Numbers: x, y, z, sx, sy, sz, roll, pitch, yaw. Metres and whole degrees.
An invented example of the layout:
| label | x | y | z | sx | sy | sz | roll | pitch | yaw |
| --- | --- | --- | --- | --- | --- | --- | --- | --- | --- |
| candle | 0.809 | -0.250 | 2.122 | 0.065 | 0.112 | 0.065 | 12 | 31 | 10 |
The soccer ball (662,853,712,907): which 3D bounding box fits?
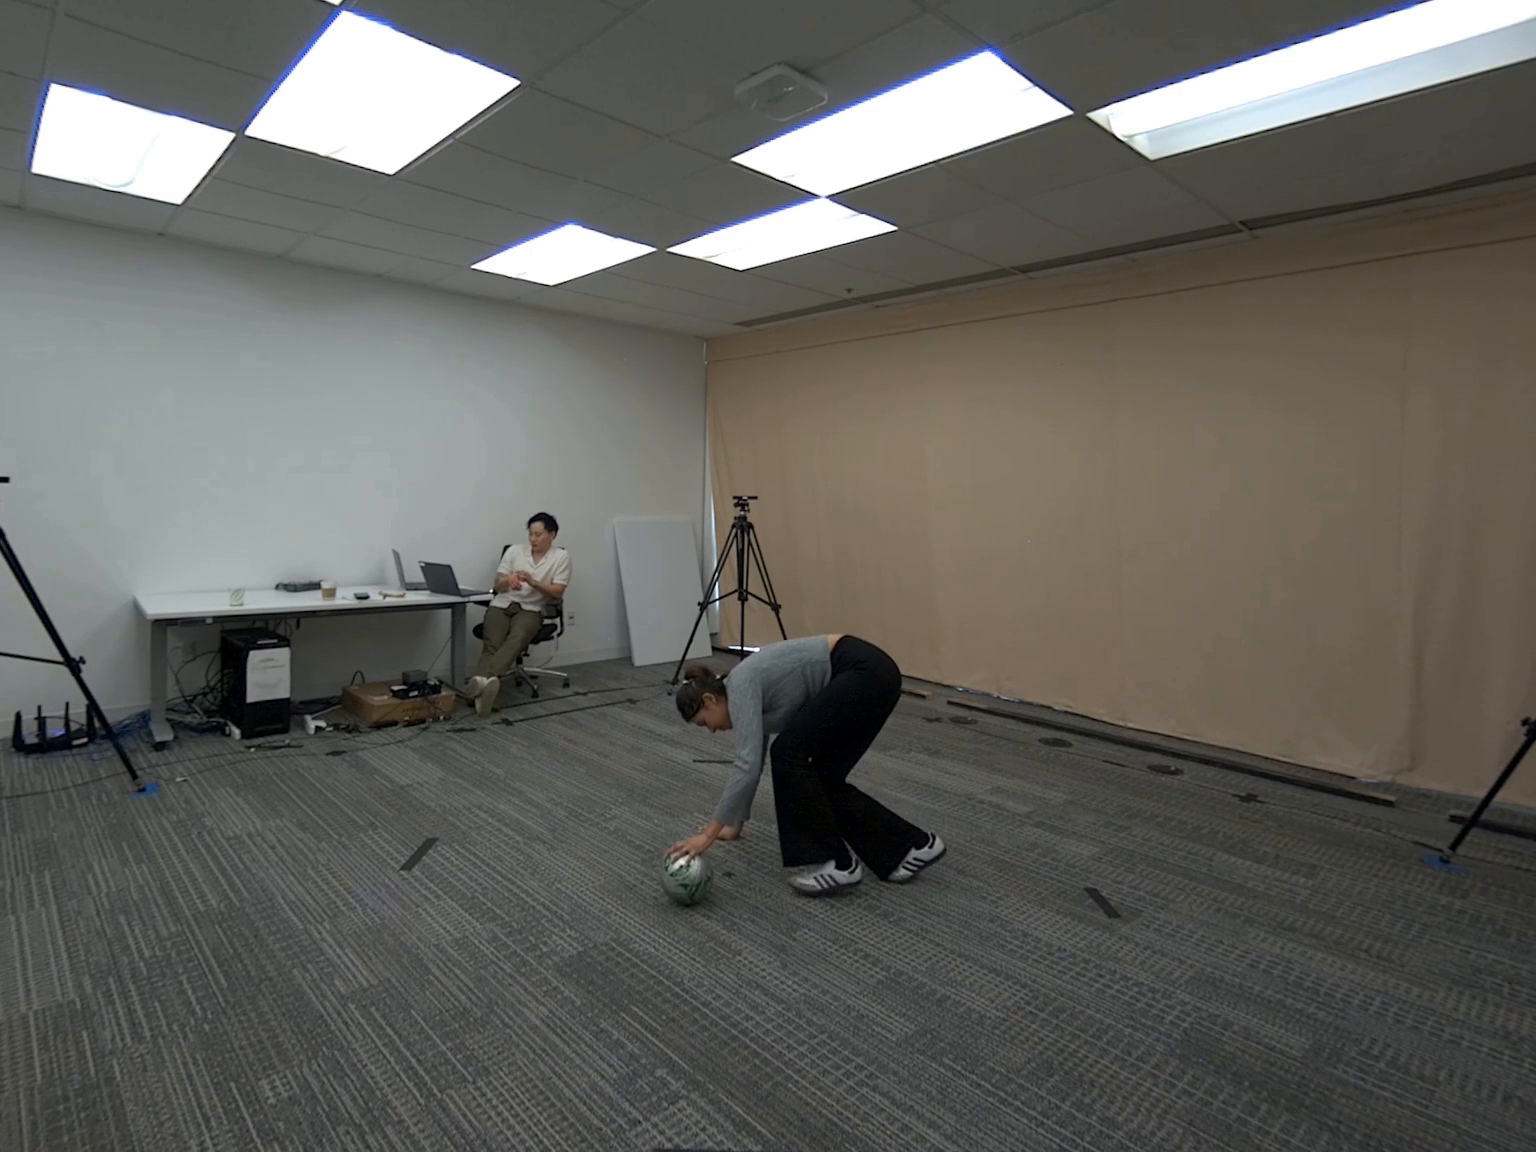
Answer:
| label | x | y | z | sx | sy | sz | roll | pitch | yaw |
| --- | --- | --- | --- | --- | --- | --- | --- | --- | --- |
| soccer ball | -0.289 | 1.024 | 2.884 | 0.187 | 0.187 | 0.188 | 1 | 4 | -1 |
